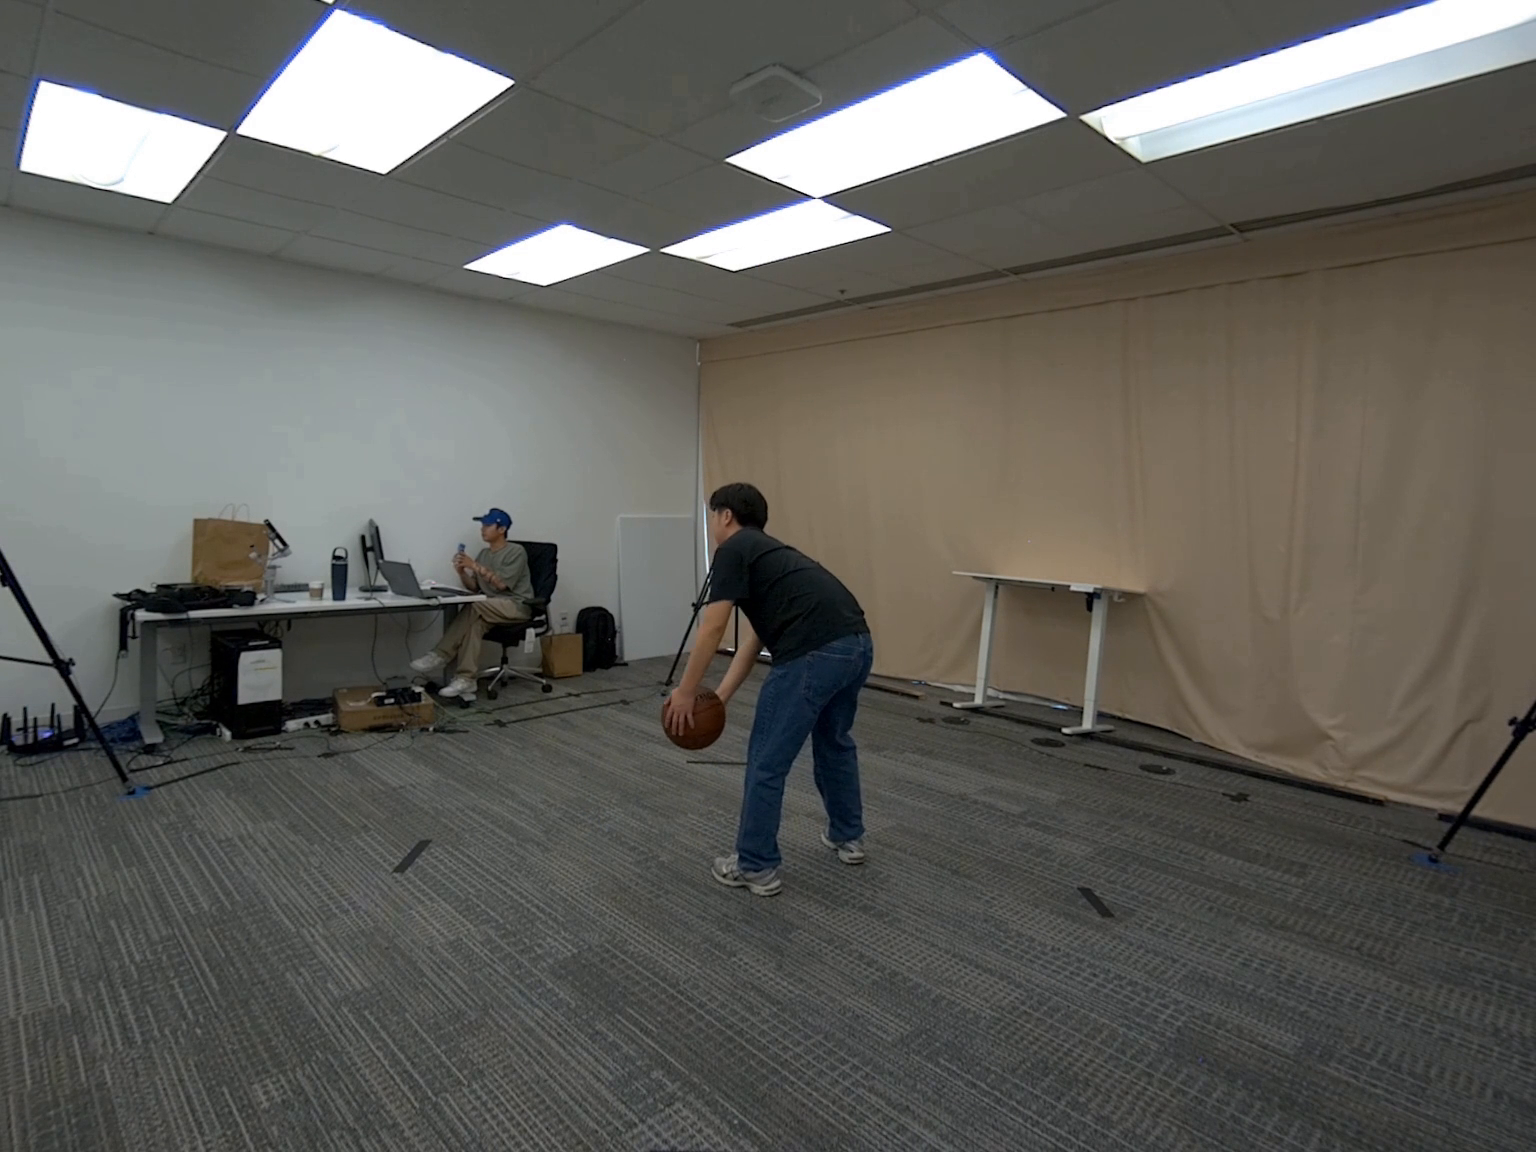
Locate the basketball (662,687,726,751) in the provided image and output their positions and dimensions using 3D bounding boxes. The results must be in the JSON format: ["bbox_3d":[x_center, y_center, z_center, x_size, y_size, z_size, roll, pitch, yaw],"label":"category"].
[{"bbox_3d":[-0.272,0.511,3.101,0.236,0.235,0.237,1,4,-1],"label":"basketball"}]
